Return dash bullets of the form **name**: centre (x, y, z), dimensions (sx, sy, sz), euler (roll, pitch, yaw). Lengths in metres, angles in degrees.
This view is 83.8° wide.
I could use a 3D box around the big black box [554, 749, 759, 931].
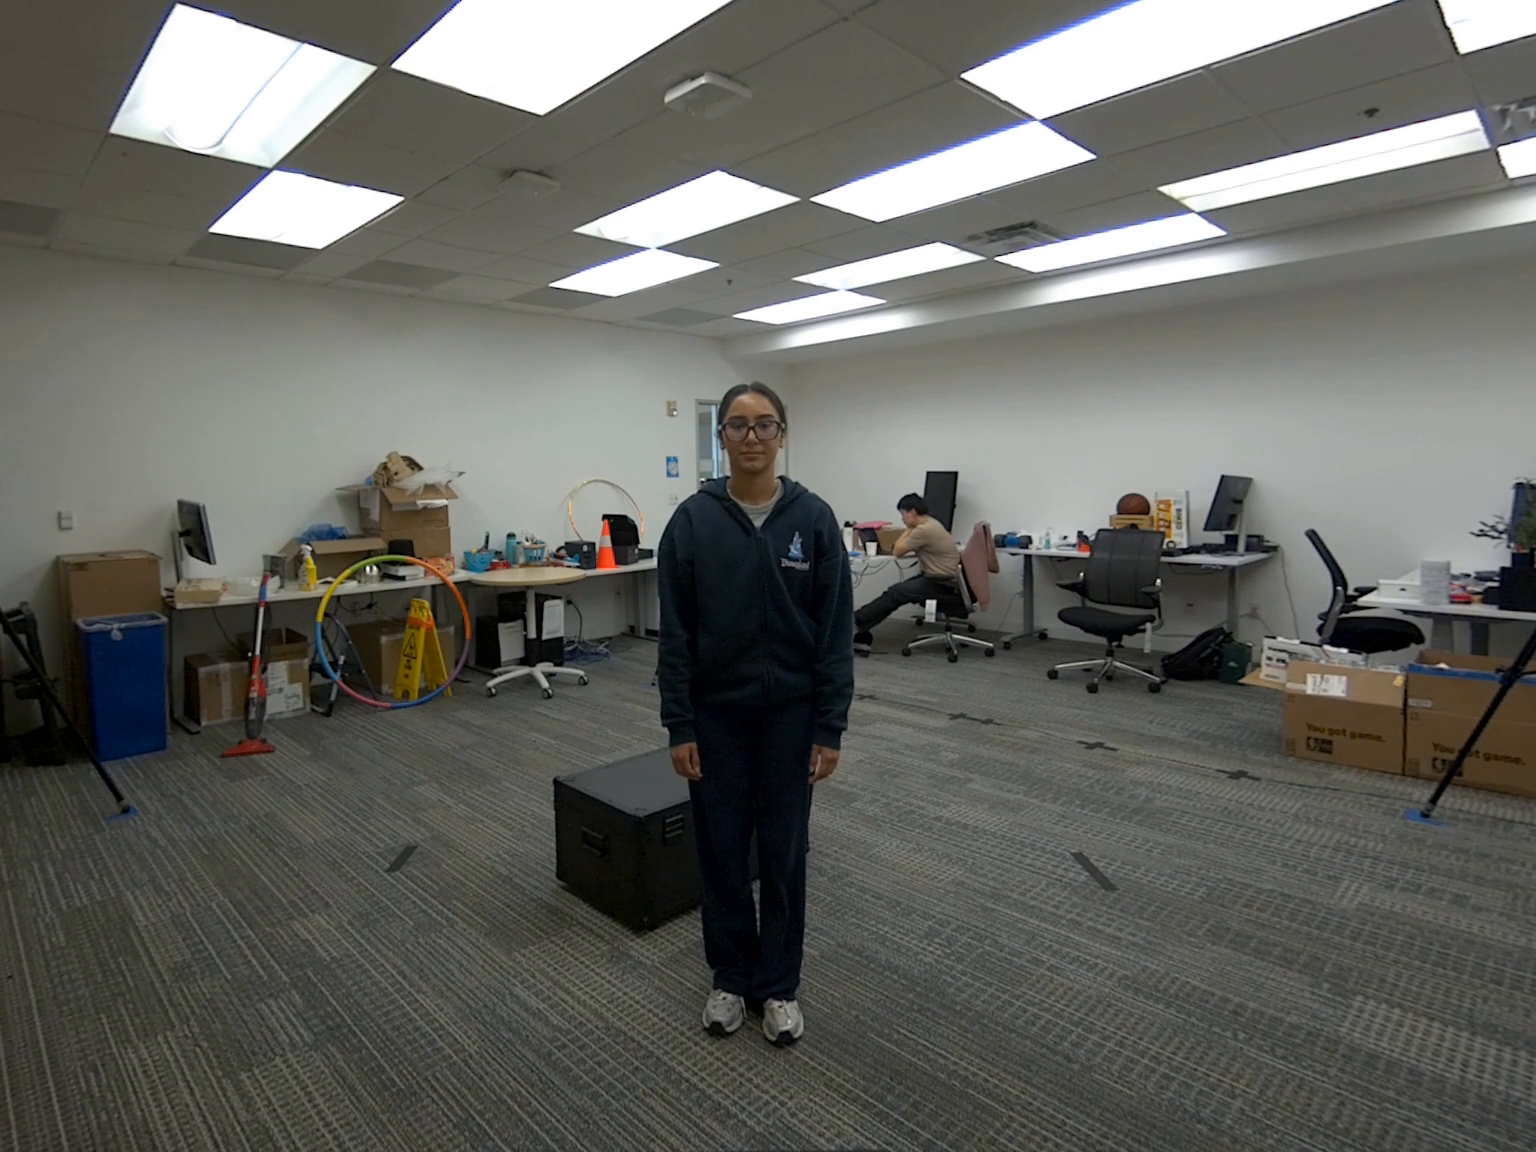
- **big black box**: centre (-0.272, 0.862, 3.056), dimensions (0.537, 0.394, 0.839), euler (5, 10, 45)
